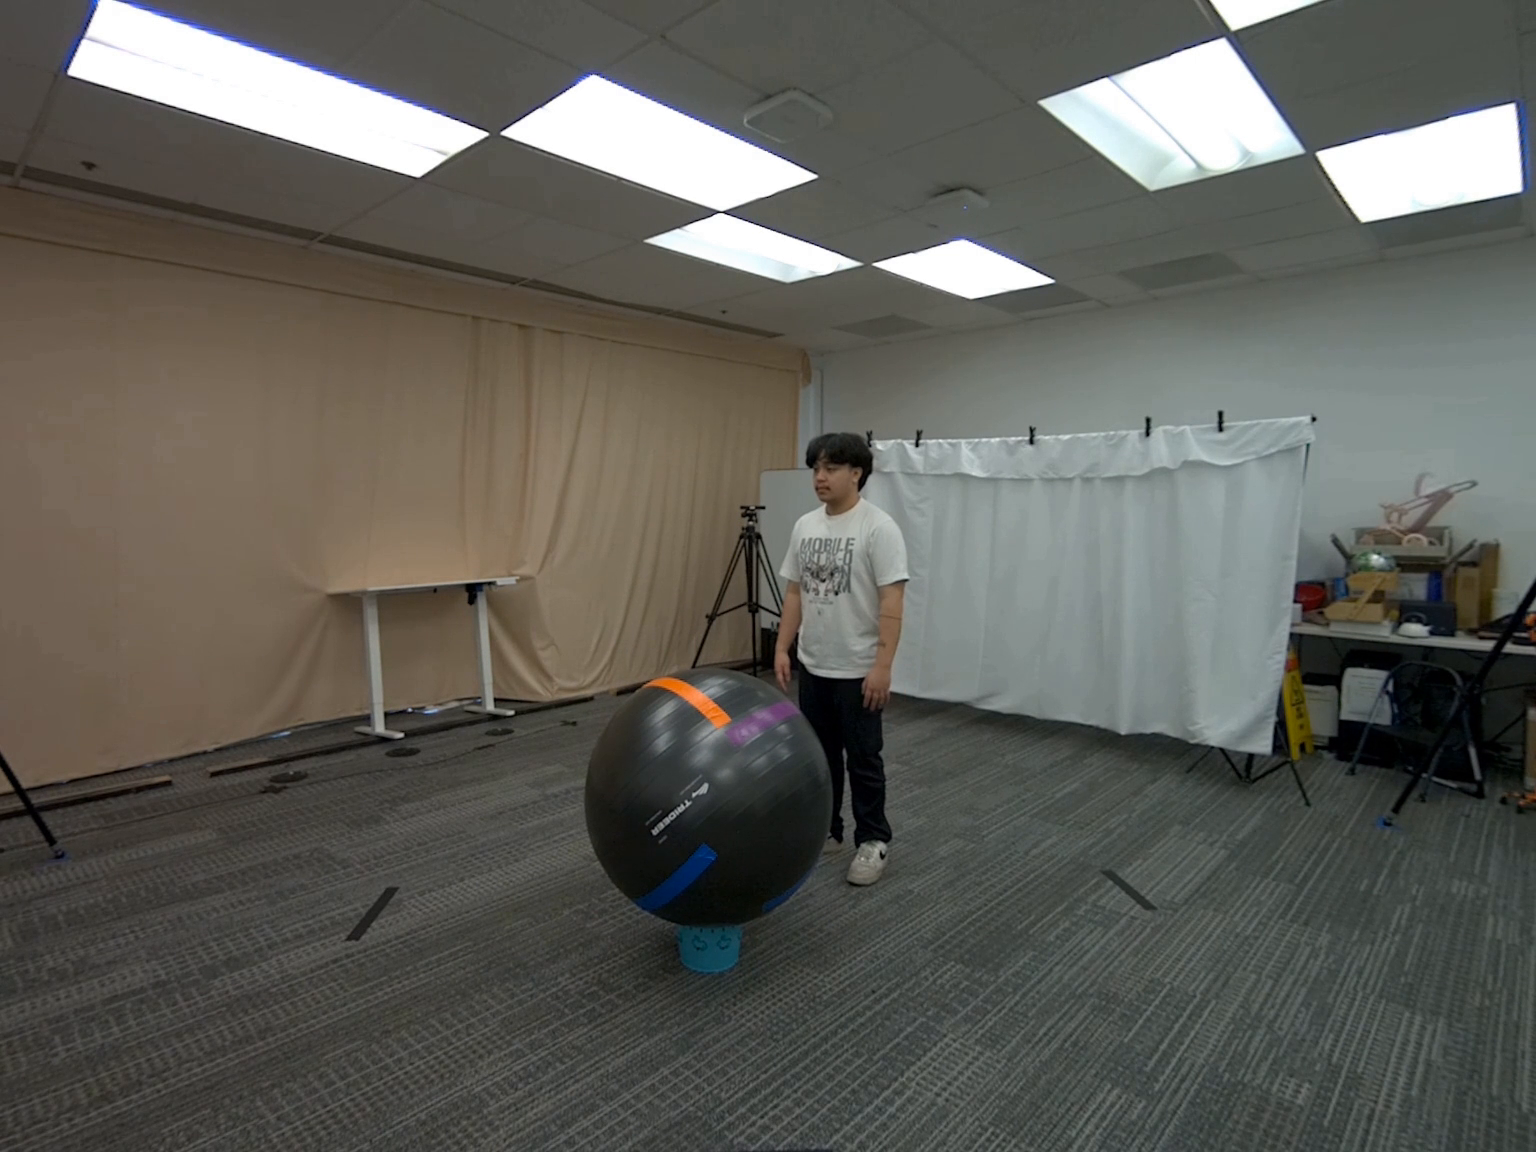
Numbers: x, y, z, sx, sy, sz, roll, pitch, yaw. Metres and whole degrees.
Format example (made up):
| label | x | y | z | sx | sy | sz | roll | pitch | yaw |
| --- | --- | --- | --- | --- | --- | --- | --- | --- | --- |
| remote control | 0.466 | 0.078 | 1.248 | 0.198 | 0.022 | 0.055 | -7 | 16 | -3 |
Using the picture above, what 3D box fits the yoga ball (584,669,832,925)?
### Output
| label | x | y | z | sx | sy | sz | roll | pitch | yaw |
| --- | --- | --- | --- | --- | --- | --- | --- | --- | --- |
| yoga ball | -0.191 | 0.668 | 2.579 | 0.757 | 0.756 | 0.760 | 0 | 4 | -2 |
